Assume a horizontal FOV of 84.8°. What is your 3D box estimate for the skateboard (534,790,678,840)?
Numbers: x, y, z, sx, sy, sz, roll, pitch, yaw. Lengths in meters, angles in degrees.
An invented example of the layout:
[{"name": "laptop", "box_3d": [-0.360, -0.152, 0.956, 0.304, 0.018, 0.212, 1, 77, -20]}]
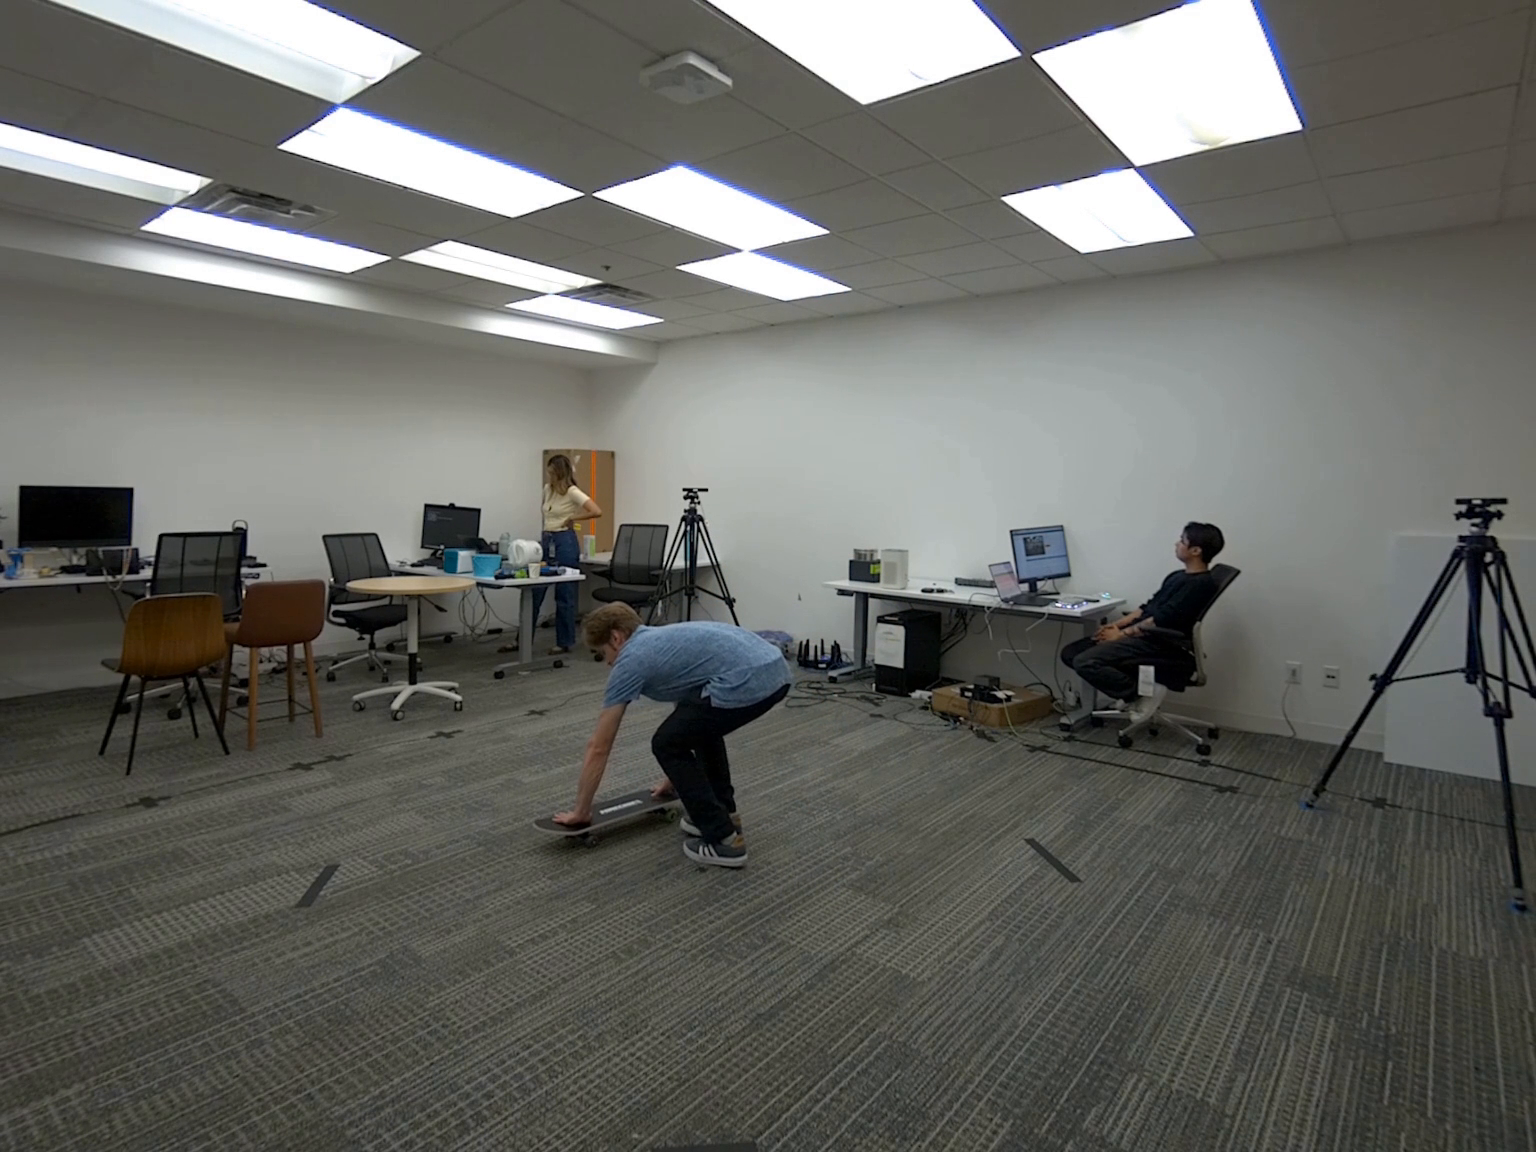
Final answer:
[{"name": "skateboard", "box_3d": [-0.610, 0.972, 3.469, 0.762, 0.110, 0.200, -5, 5, -44]}]
